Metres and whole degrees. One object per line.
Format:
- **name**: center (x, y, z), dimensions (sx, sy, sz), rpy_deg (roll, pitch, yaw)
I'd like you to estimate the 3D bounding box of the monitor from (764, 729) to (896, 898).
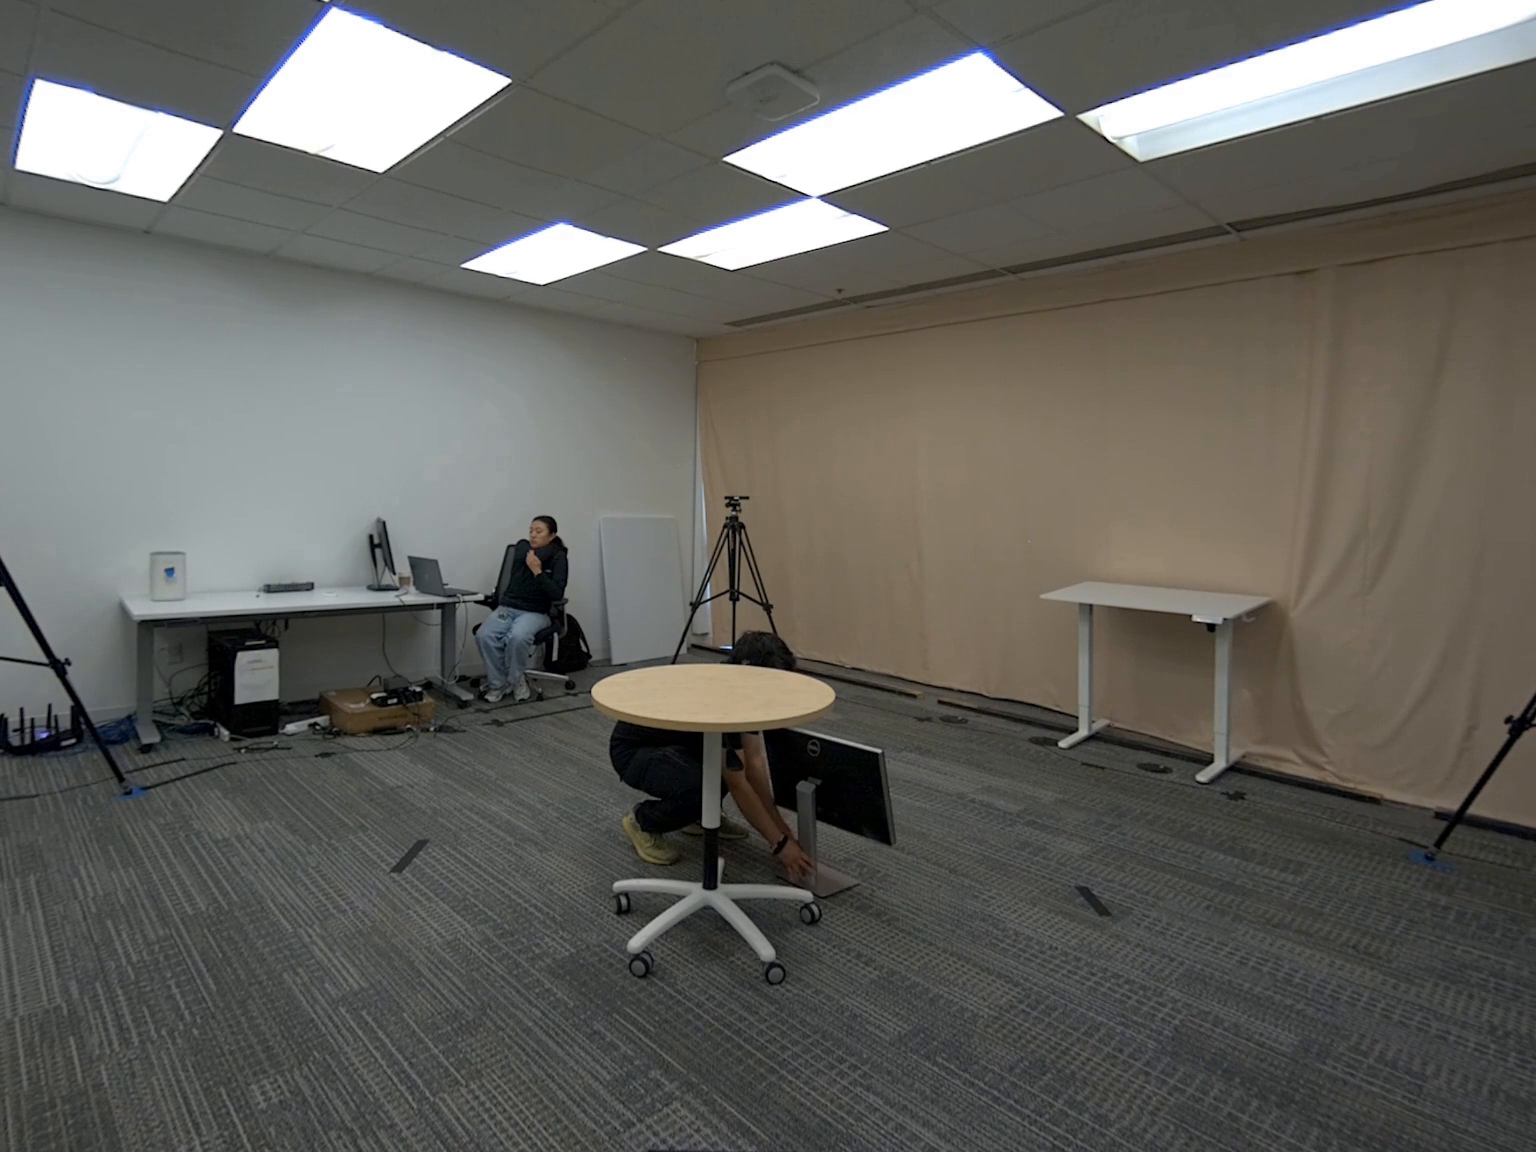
- **monitor**: center (0.162, 0.849, 3.049), dimensions (0.580, 0.550, 0.206), rpy_deg (5, 12, 44)
